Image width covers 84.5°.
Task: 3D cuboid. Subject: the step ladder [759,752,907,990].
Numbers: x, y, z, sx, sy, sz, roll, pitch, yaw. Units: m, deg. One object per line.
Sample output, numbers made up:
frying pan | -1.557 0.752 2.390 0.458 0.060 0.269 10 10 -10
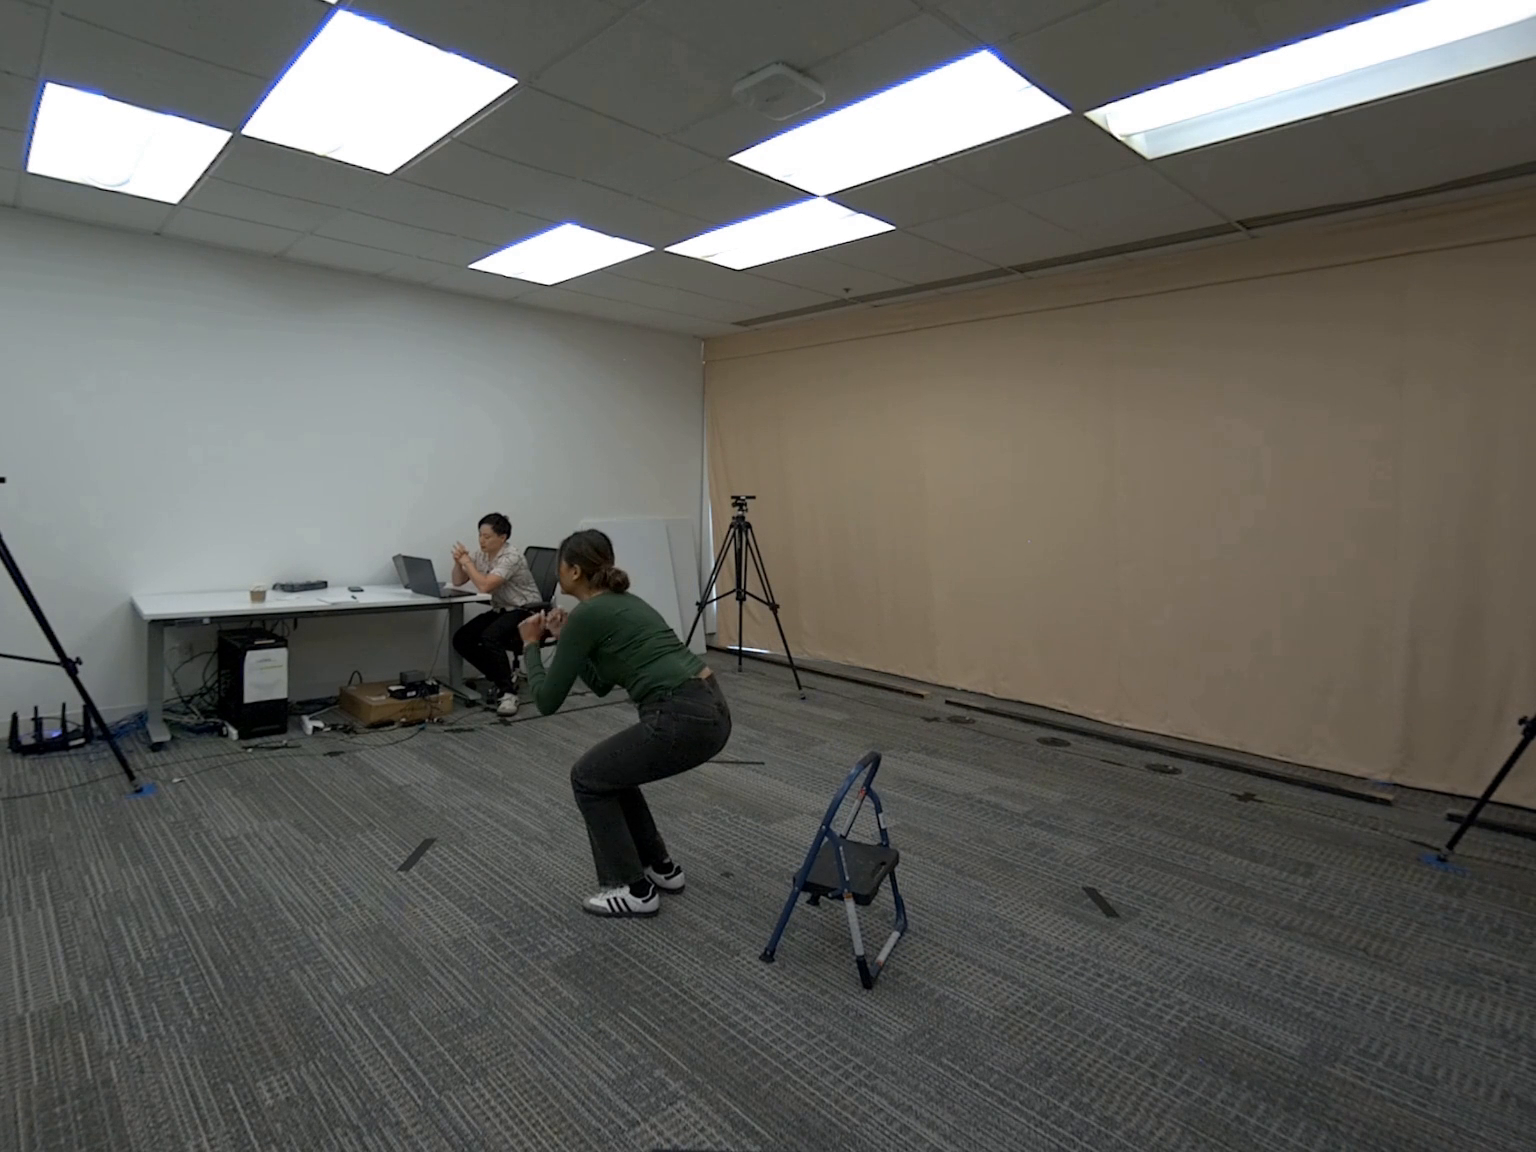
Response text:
step ladder | 0.223 0.851 2.620 0.356 0.604 0.424 4 5 24
